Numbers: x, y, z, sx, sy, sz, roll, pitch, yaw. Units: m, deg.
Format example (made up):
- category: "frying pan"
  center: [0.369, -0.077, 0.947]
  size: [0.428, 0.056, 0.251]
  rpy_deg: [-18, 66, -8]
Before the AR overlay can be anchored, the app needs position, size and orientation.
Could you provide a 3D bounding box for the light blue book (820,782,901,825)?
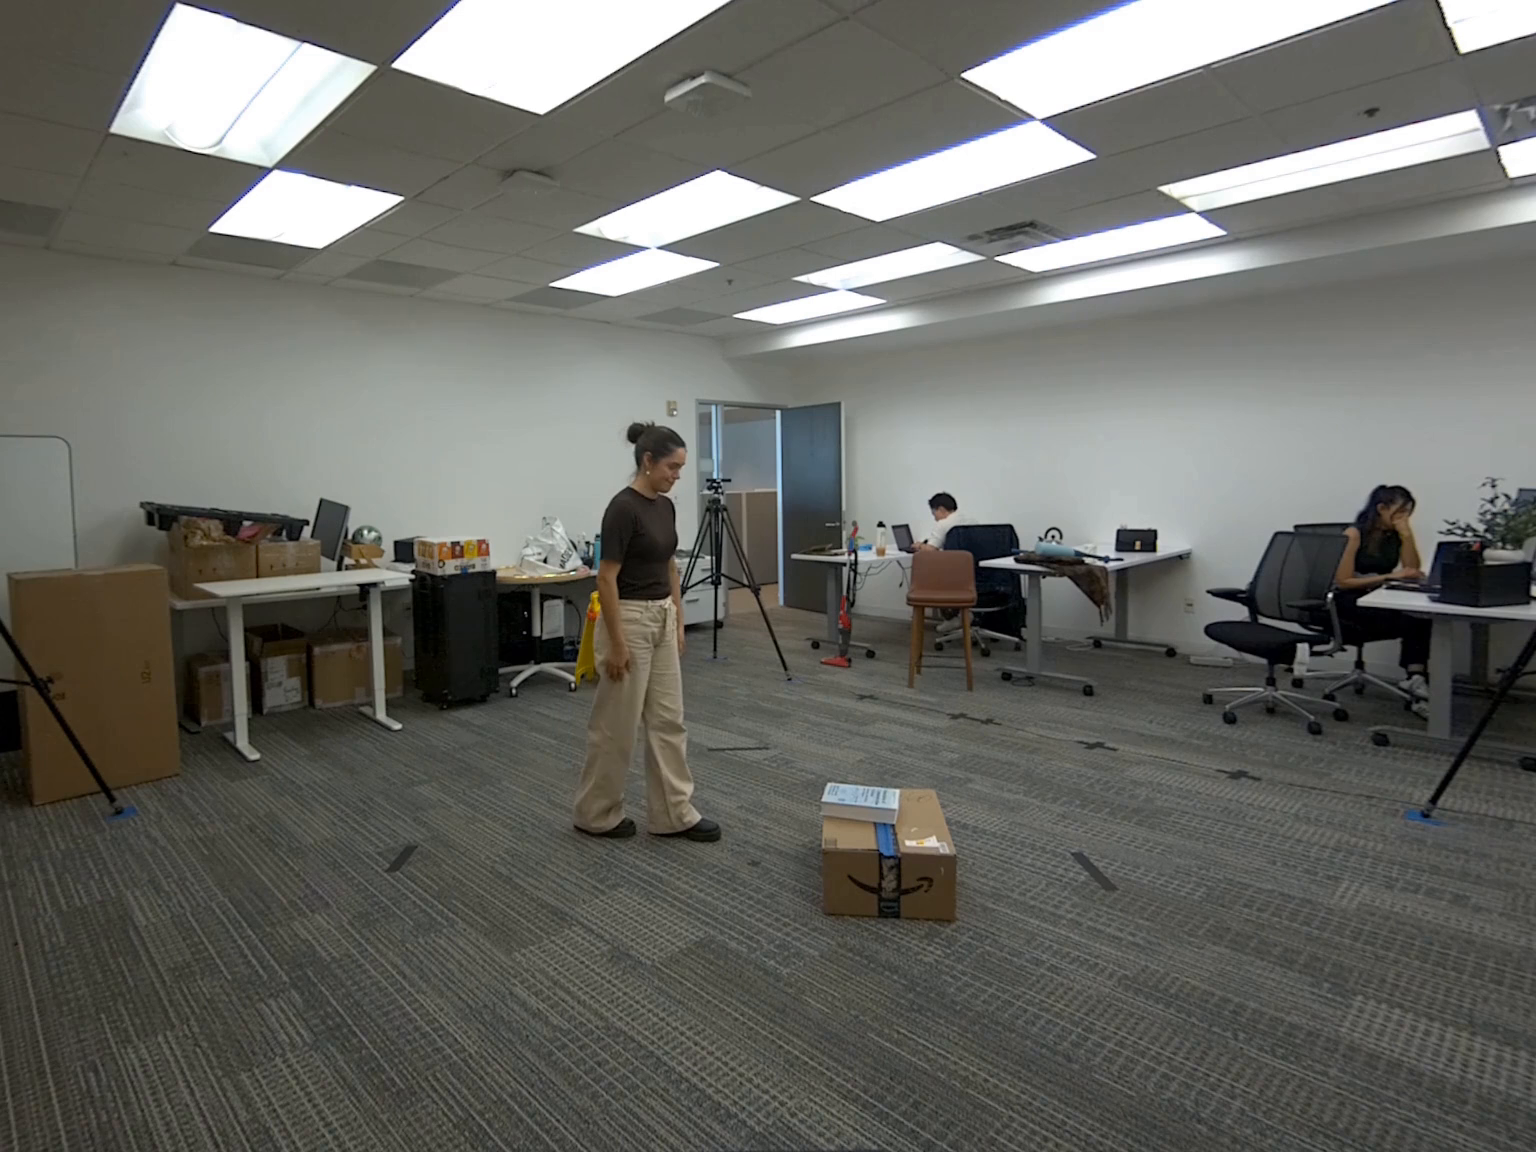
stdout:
- category: "light blue book"
  center: [0.336, 0.804, 3.036]
  size: [0.265, 0.059, 0.190]
  rpy_deg: [2, 8, 14]
